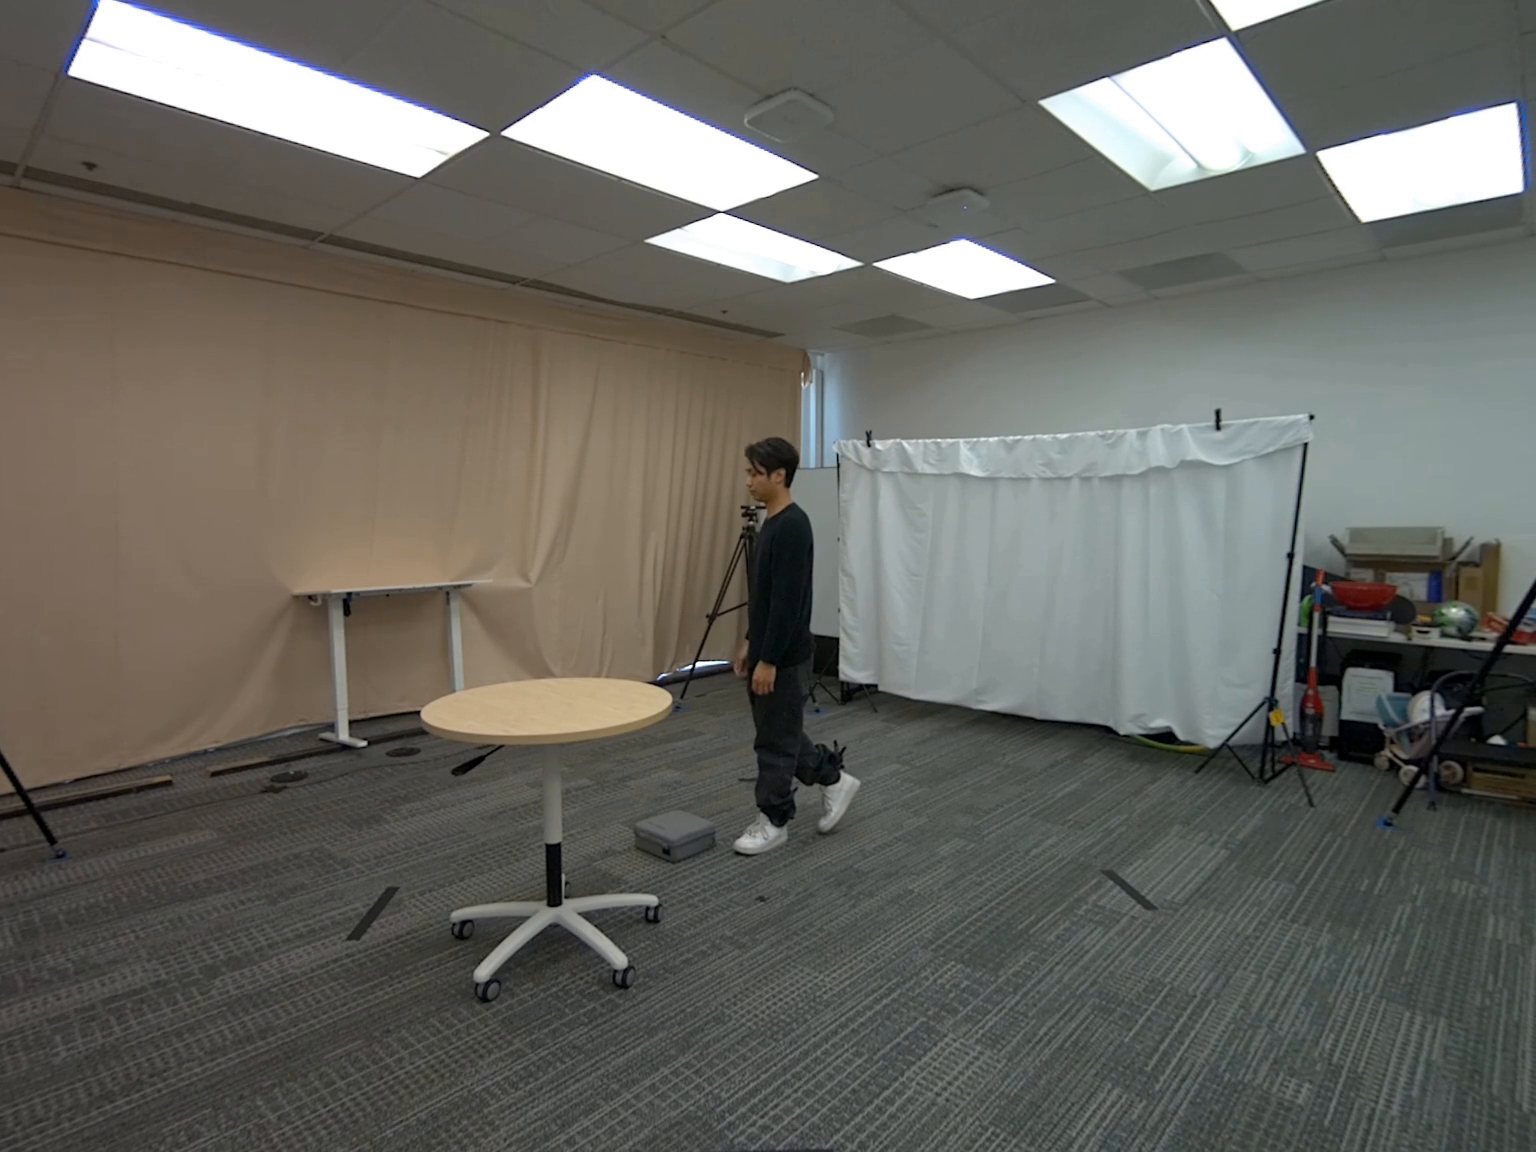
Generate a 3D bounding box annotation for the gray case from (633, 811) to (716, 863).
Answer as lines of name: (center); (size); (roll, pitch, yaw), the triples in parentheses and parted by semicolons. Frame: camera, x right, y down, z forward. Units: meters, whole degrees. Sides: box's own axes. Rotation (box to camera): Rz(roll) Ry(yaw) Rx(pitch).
gray case: (-0.382, 1.052, 3.444); (0.265, 0.104, 0.253); (2, 5, 43)
